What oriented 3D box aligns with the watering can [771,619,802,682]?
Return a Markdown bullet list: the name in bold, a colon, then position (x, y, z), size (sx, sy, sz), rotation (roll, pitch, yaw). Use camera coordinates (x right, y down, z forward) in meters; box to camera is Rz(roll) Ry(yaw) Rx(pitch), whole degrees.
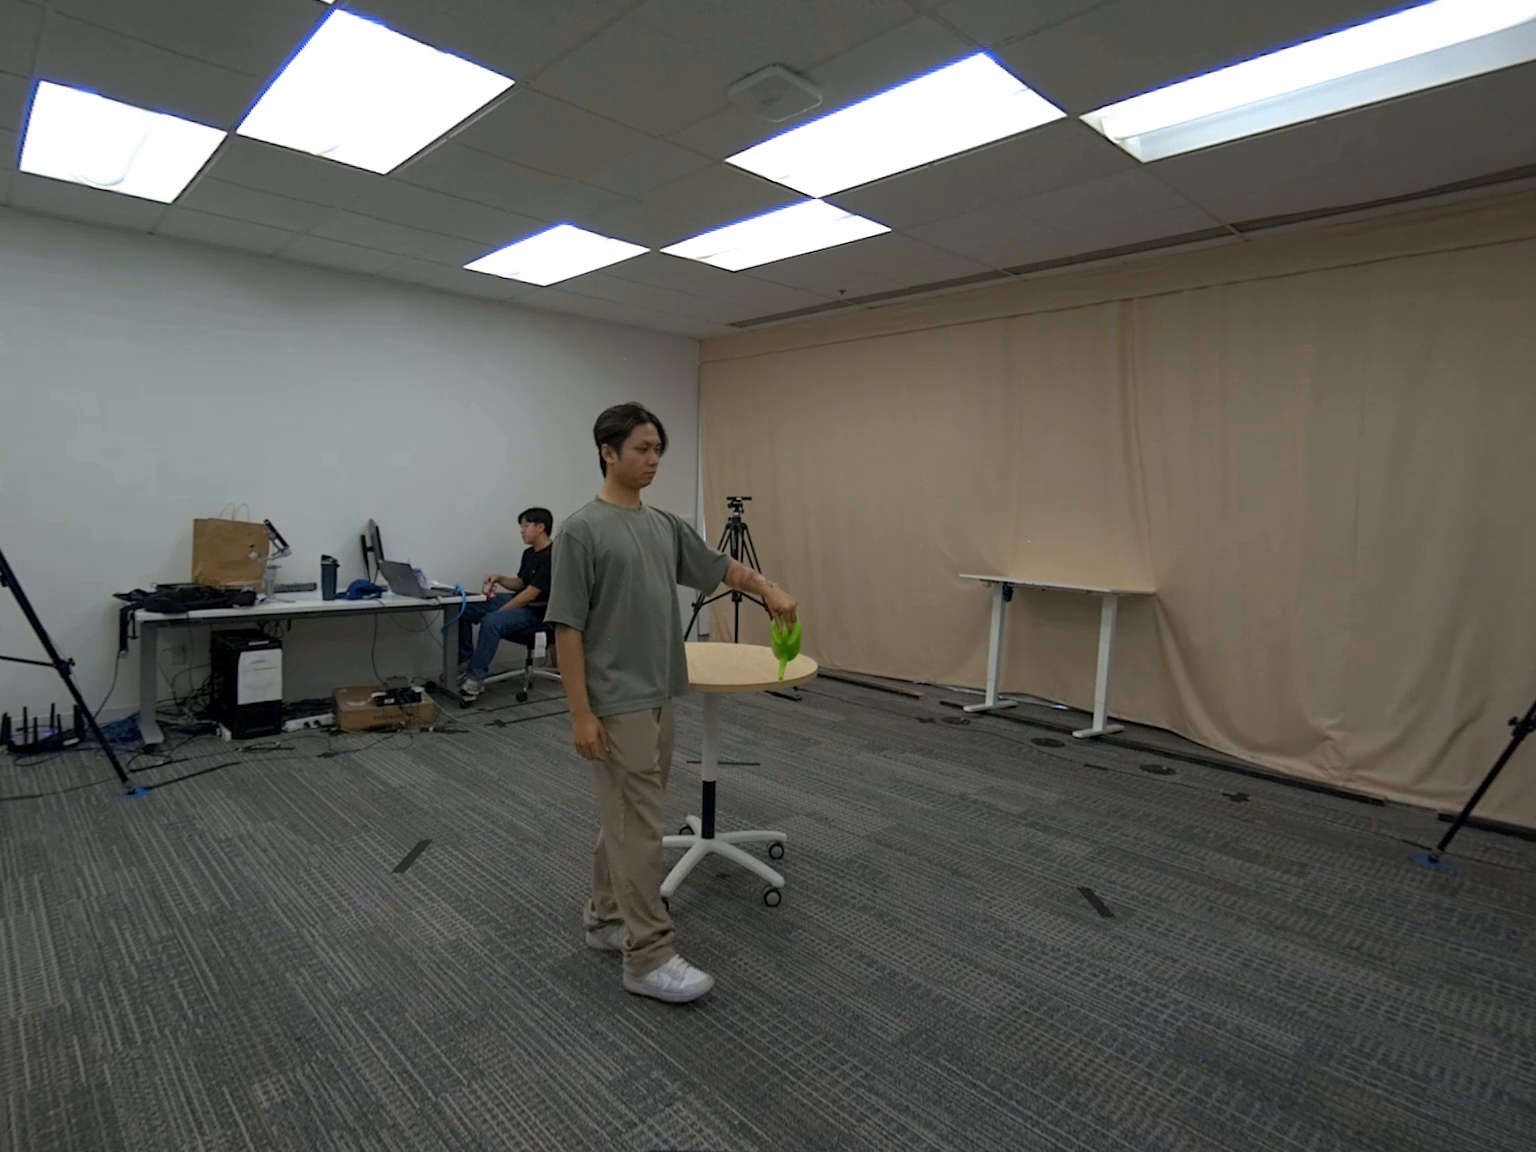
- **watering can**: position (0.036, 0.215, 2.595), size (0.099, 0.281, 0.173), rotation (16, -27, 11)
